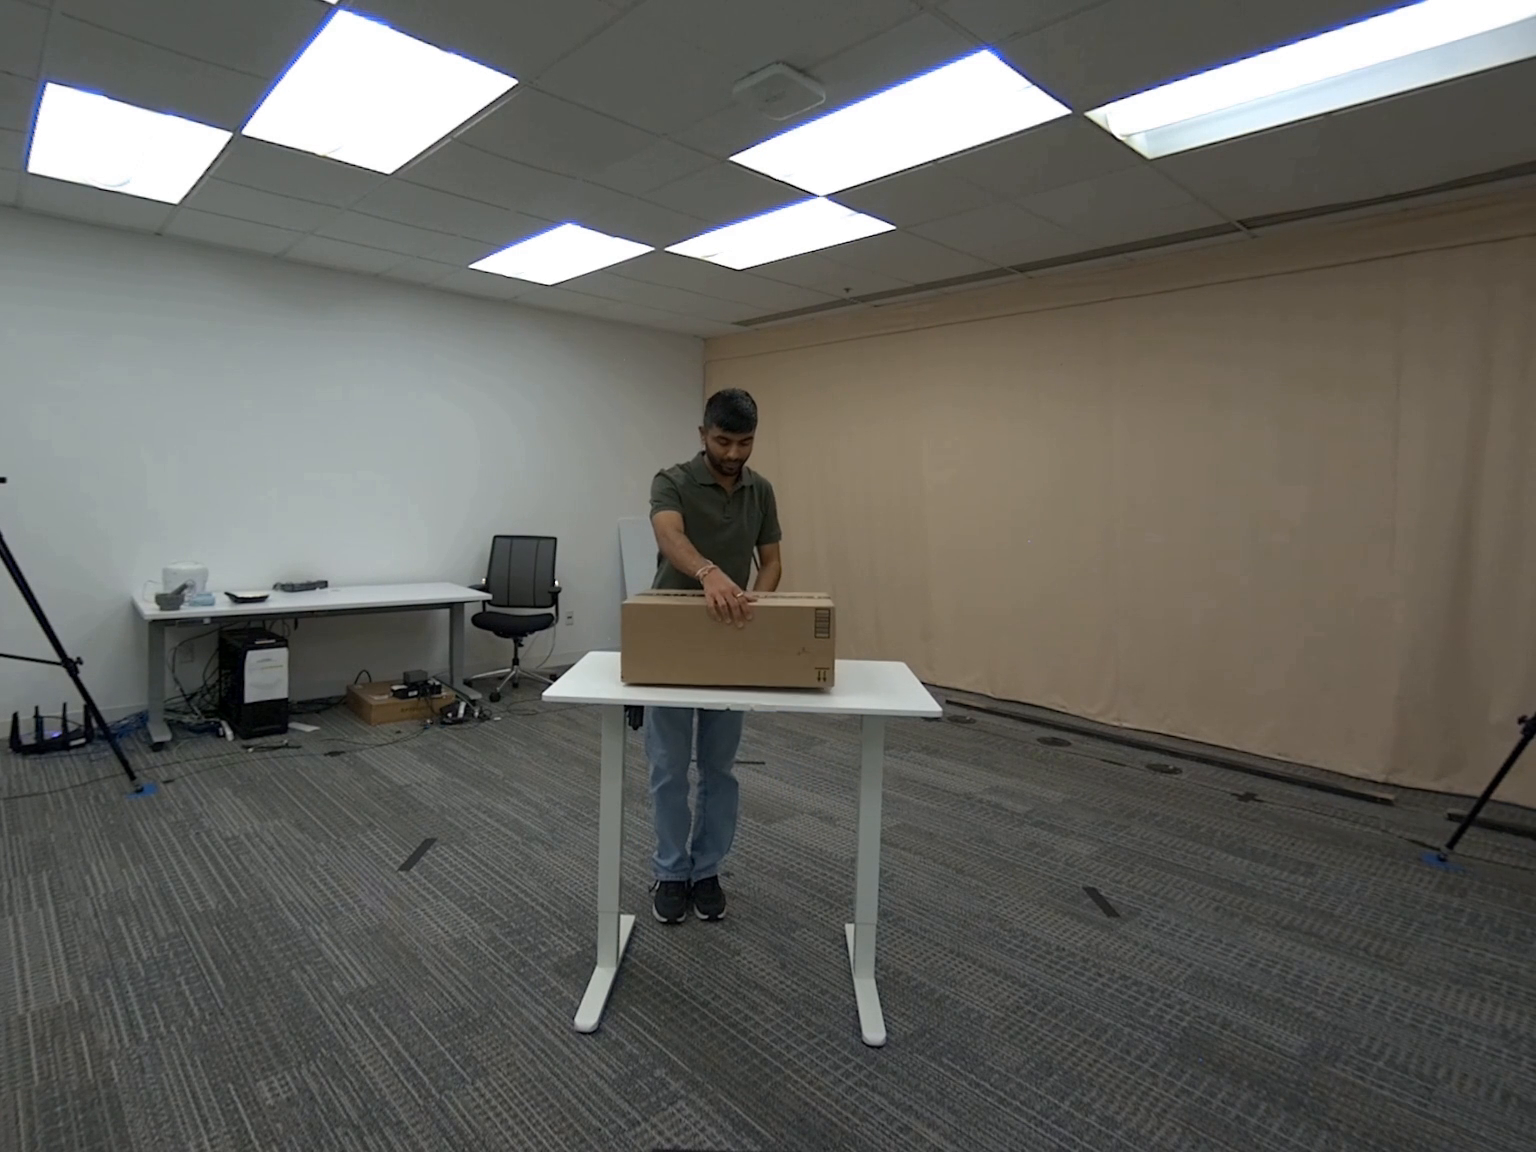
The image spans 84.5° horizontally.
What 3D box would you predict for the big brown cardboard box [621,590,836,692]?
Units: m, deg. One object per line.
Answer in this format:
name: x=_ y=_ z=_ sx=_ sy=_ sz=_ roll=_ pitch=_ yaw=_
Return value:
big brown cardboard box: x=-0.116 y=0.167 z=2.415 sx=0.591 sy=0.232 sz=0.417 roll=0 pitch=4 yaw=5
